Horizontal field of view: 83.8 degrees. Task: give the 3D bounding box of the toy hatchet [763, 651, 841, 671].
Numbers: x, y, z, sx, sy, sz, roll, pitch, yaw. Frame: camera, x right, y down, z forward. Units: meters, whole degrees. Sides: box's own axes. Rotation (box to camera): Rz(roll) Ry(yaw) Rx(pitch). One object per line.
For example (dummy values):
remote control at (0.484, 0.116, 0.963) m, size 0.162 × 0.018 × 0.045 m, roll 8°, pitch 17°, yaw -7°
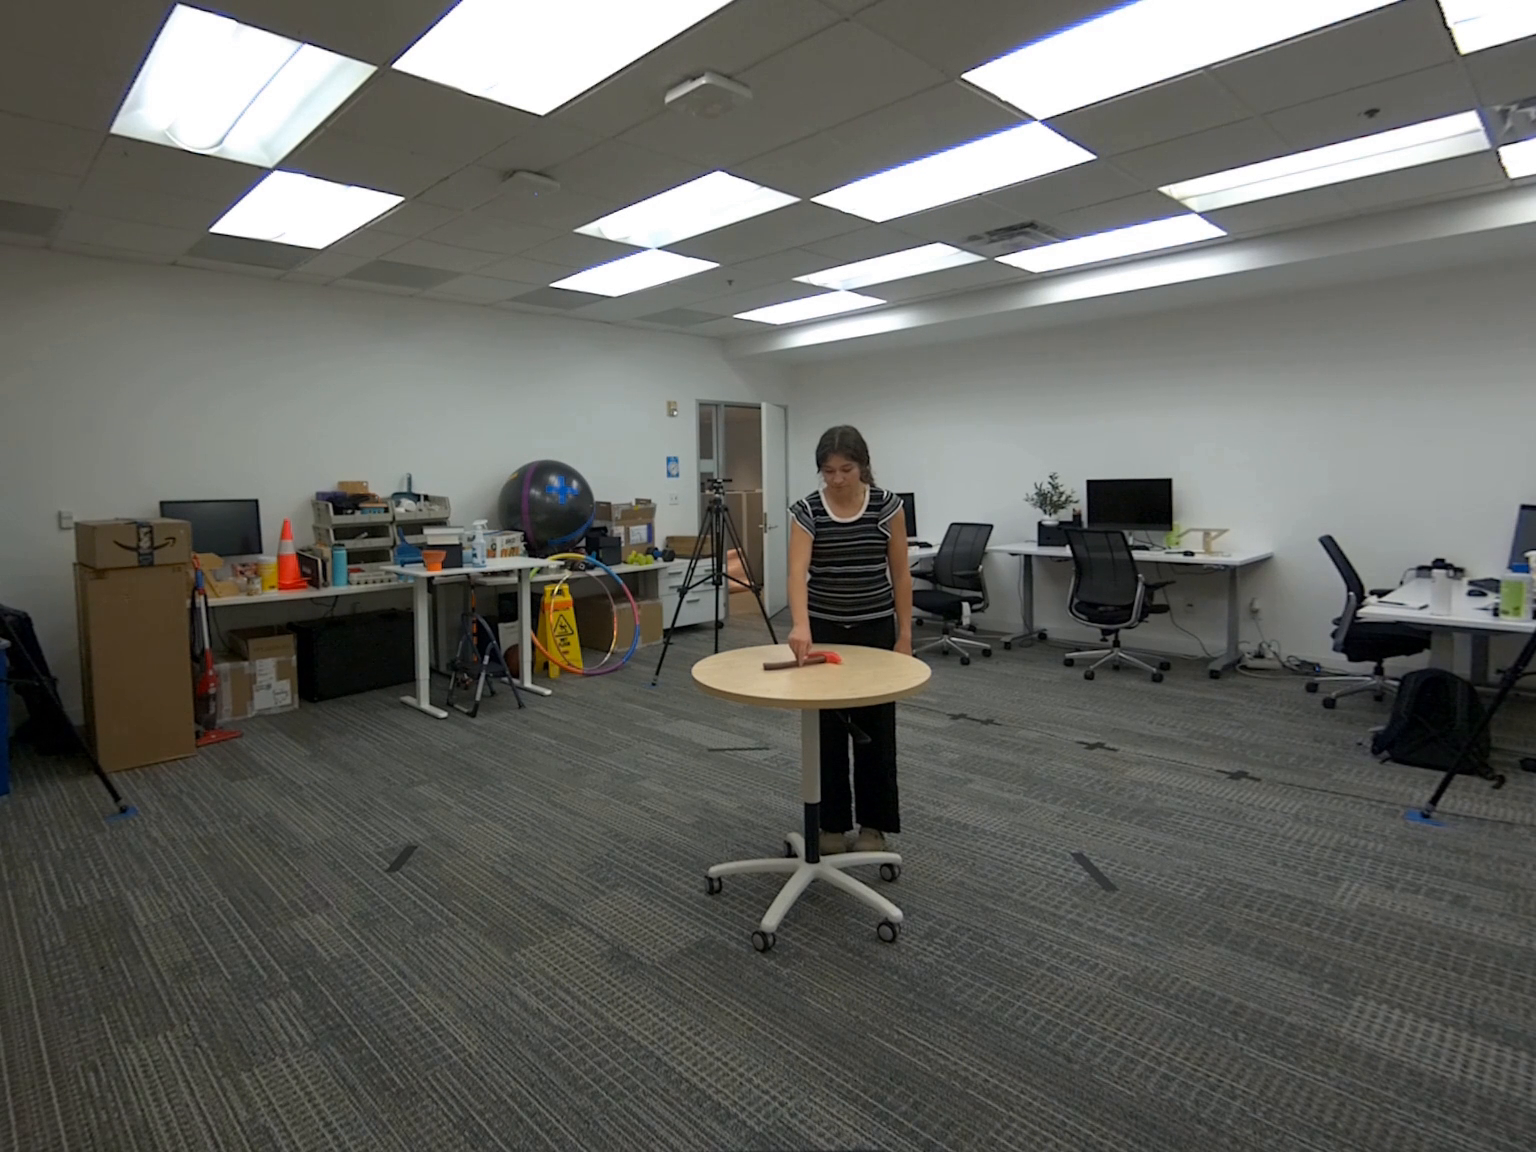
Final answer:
toy hatchet at (0.109, 0.275, 2.829) m, size 0.267 × 0.029 × 0.134 m, roll -3°, pitch 12°, yaw -12°
